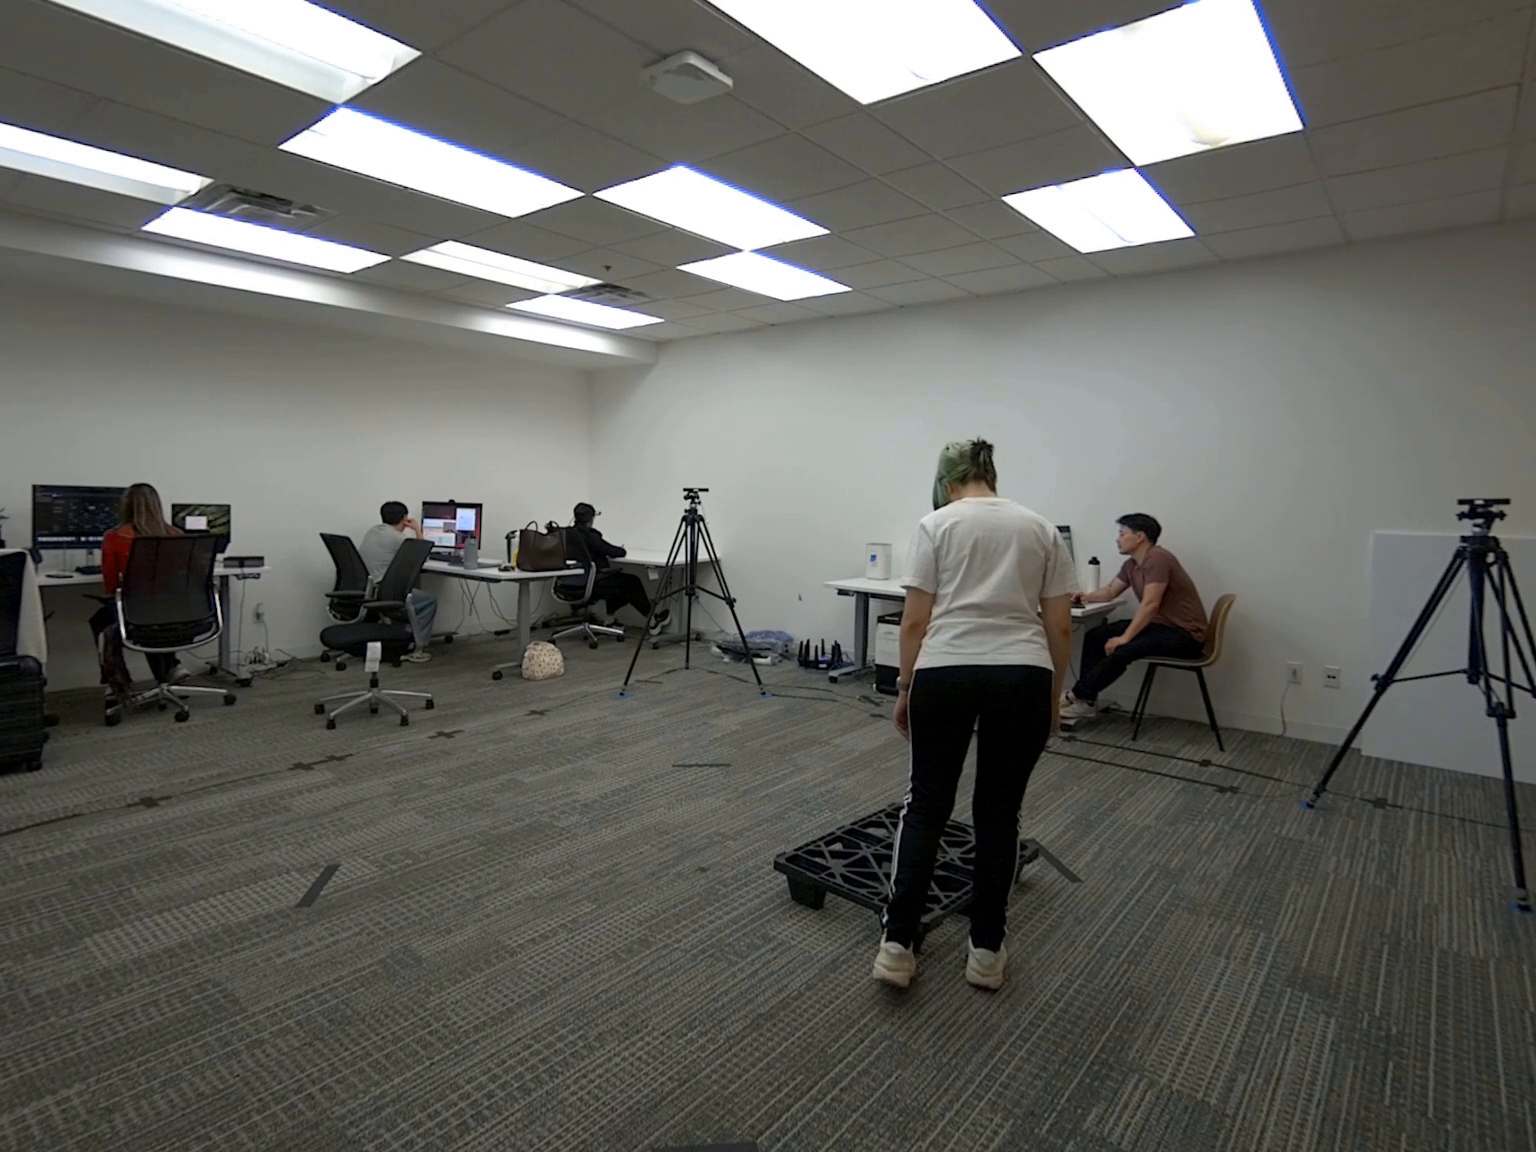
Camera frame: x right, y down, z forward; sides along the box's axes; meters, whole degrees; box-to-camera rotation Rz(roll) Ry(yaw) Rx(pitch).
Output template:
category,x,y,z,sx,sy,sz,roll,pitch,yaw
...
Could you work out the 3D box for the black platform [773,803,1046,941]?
category,x,y,z,sx,sy,sz,roll,pitch,yaw
black platform,0.484,1.030,2.986,0.626,0.143,0.781,6,7,43
